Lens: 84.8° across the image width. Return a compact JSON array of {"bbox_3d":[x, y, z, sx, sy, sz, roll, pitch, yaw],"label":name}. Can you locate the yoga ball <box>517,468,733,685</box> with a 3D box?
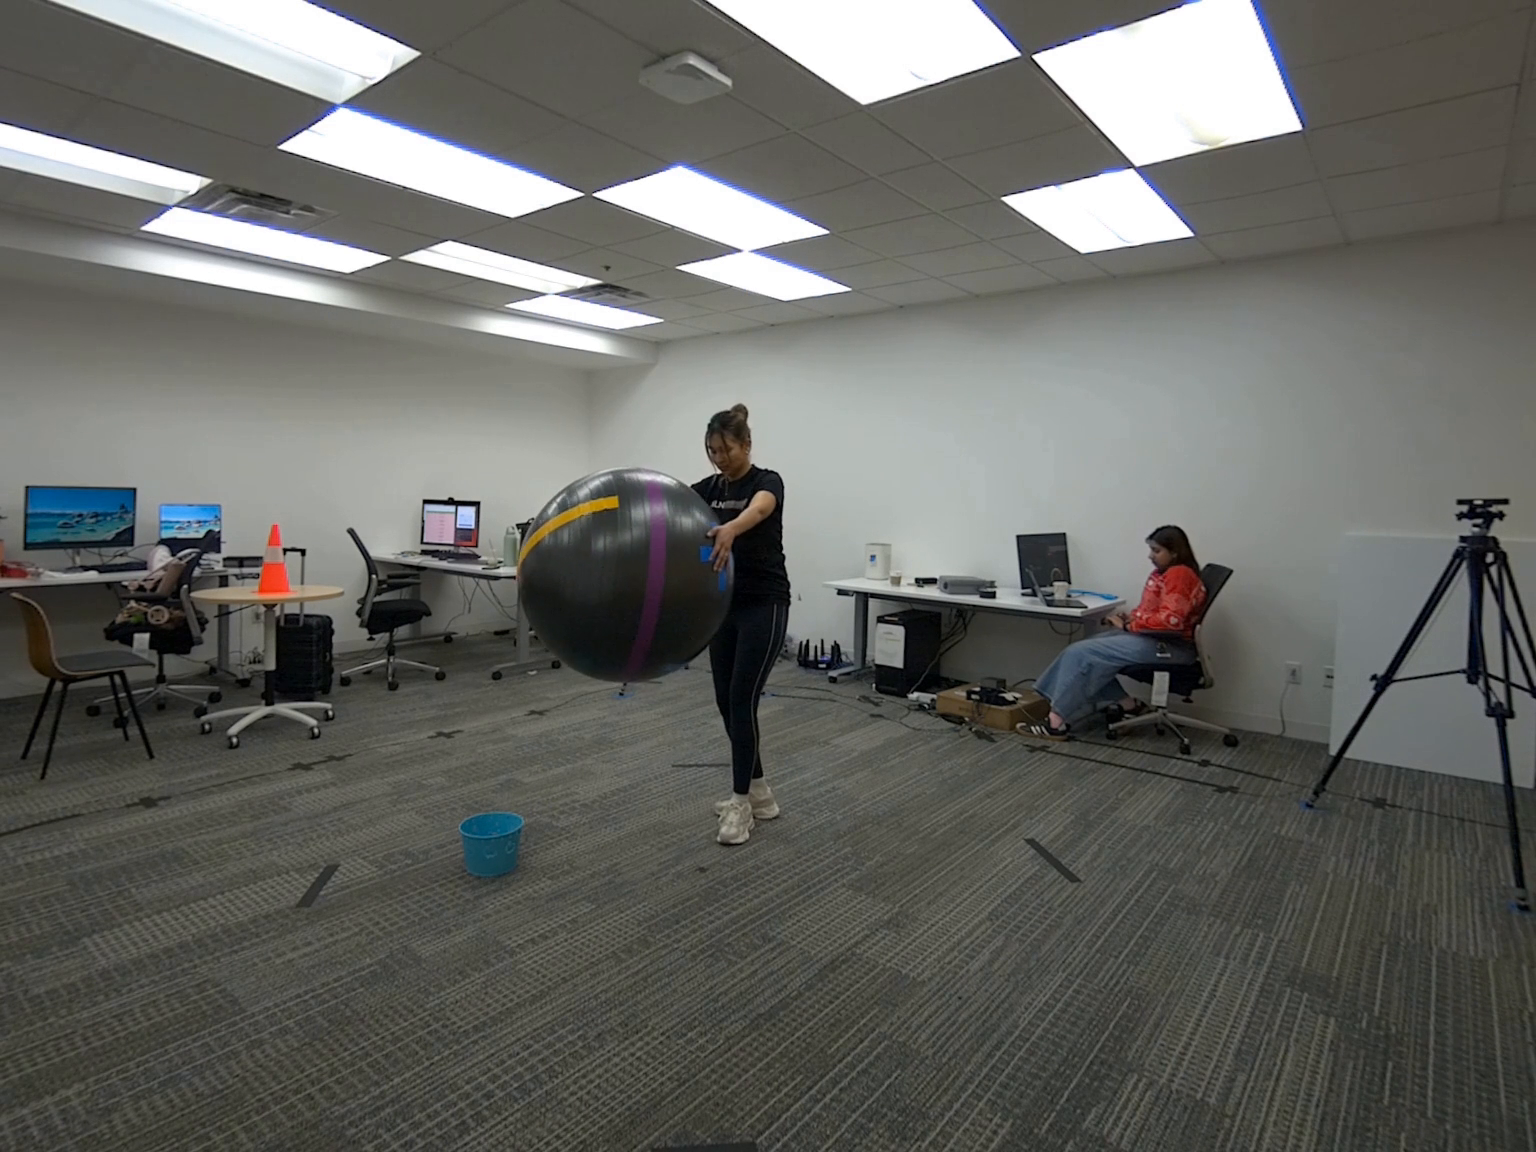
[{"bbox_3d":[-0.506,0.008,3.008,0.757,0.756,0.762,1,4,-2],"label":"yoga ball"}]
